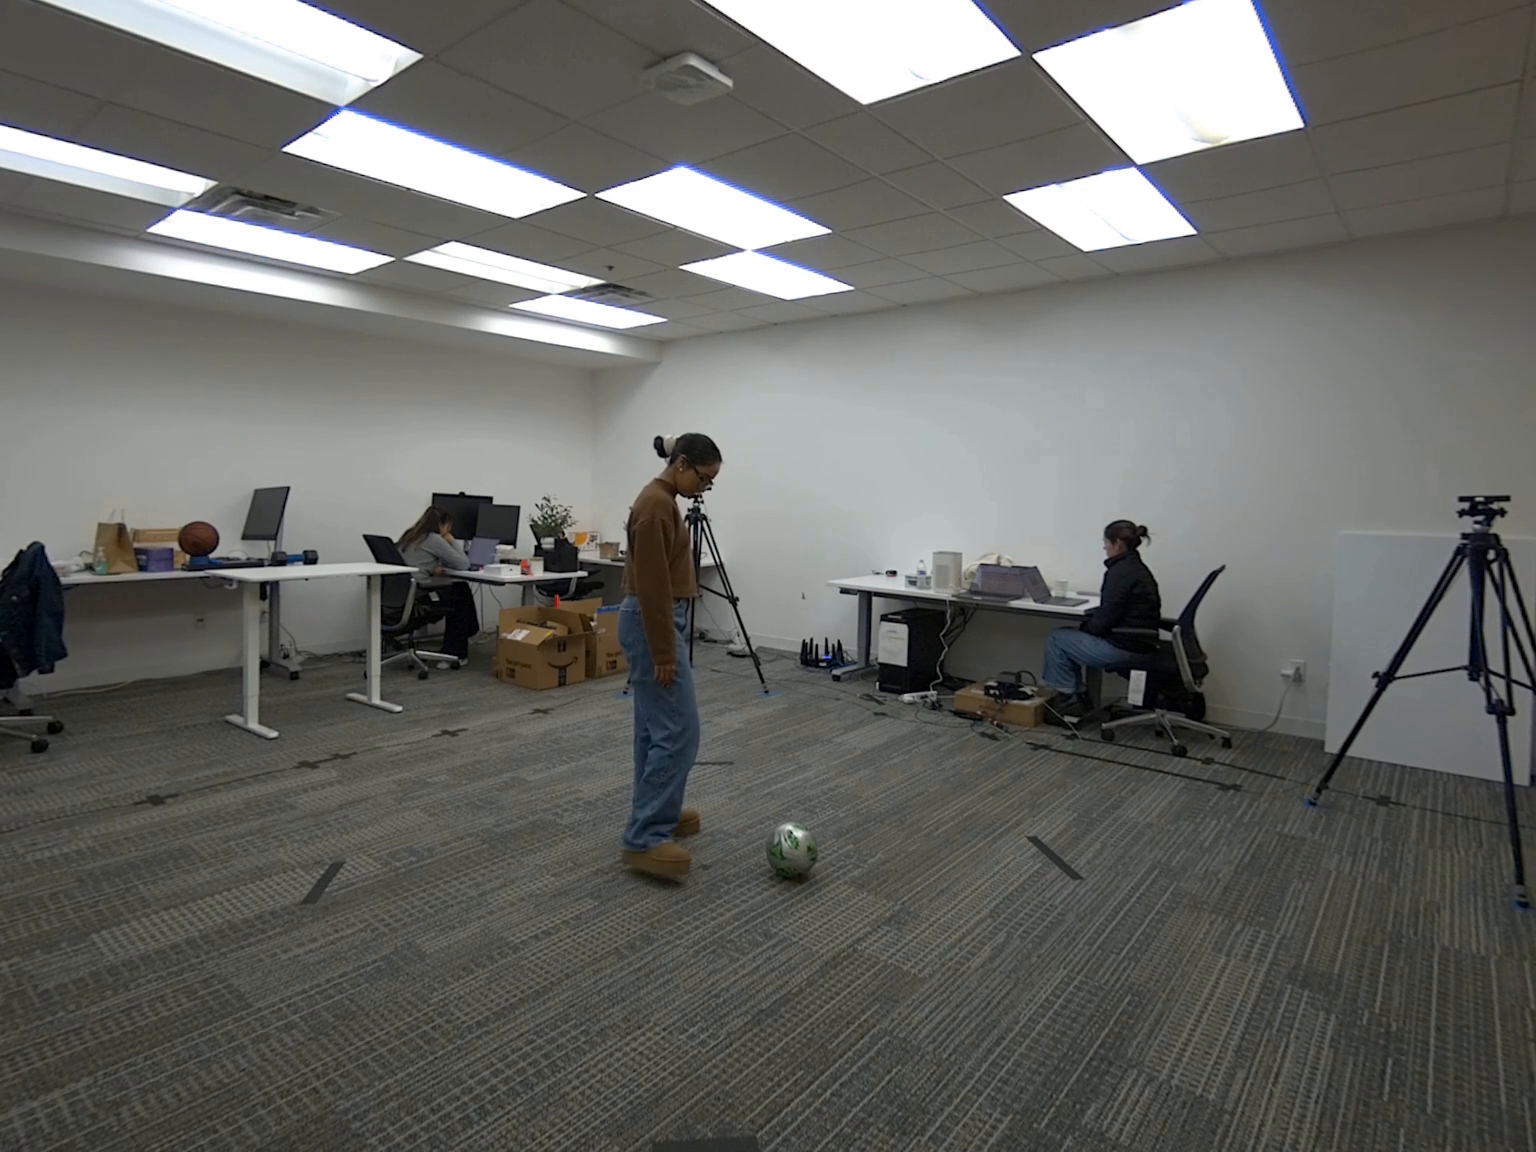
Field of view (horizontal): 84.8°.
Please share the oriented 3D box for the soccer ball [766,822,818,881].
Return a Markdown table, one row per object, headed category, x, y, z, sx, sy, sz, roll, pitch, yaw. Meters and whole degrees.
| category | x | y | z | sx | sy | sz | roll | pitch | yaw |
| --- | --- | --- | --- | --- | --- | --- | --- | --- | --- |
| soccer ball | 0.078 | 0.982 | 3.060 | 0.187 | 0.187 | 0.188 | 1 | 4 | -2 |
